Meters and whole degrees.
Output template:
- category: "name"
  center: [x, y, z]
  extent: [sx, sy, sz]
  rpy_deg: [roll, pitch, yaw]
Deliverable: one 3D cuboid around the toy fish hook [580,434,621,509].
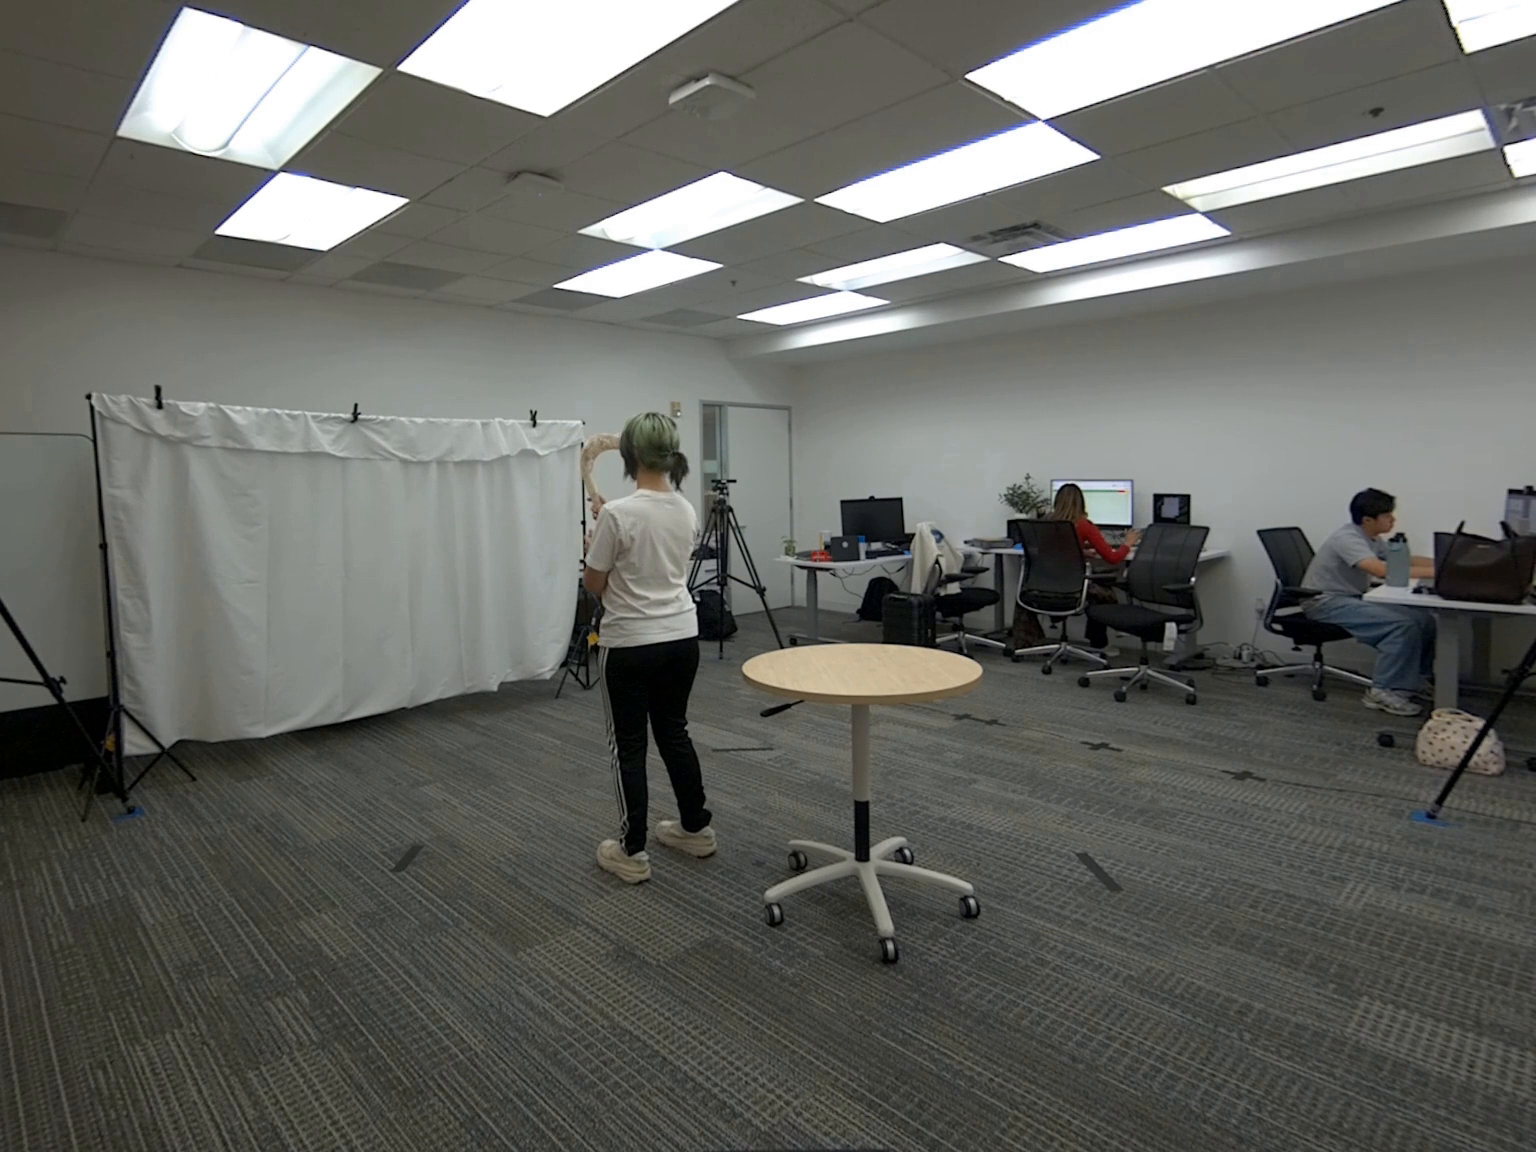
- category: "toy fish hook"
  center: [-0.595, -0.302, 3.286]
  extent: [0.223, 0.509, 0.048]
  rpy_deg: [-6, -5, -6]
